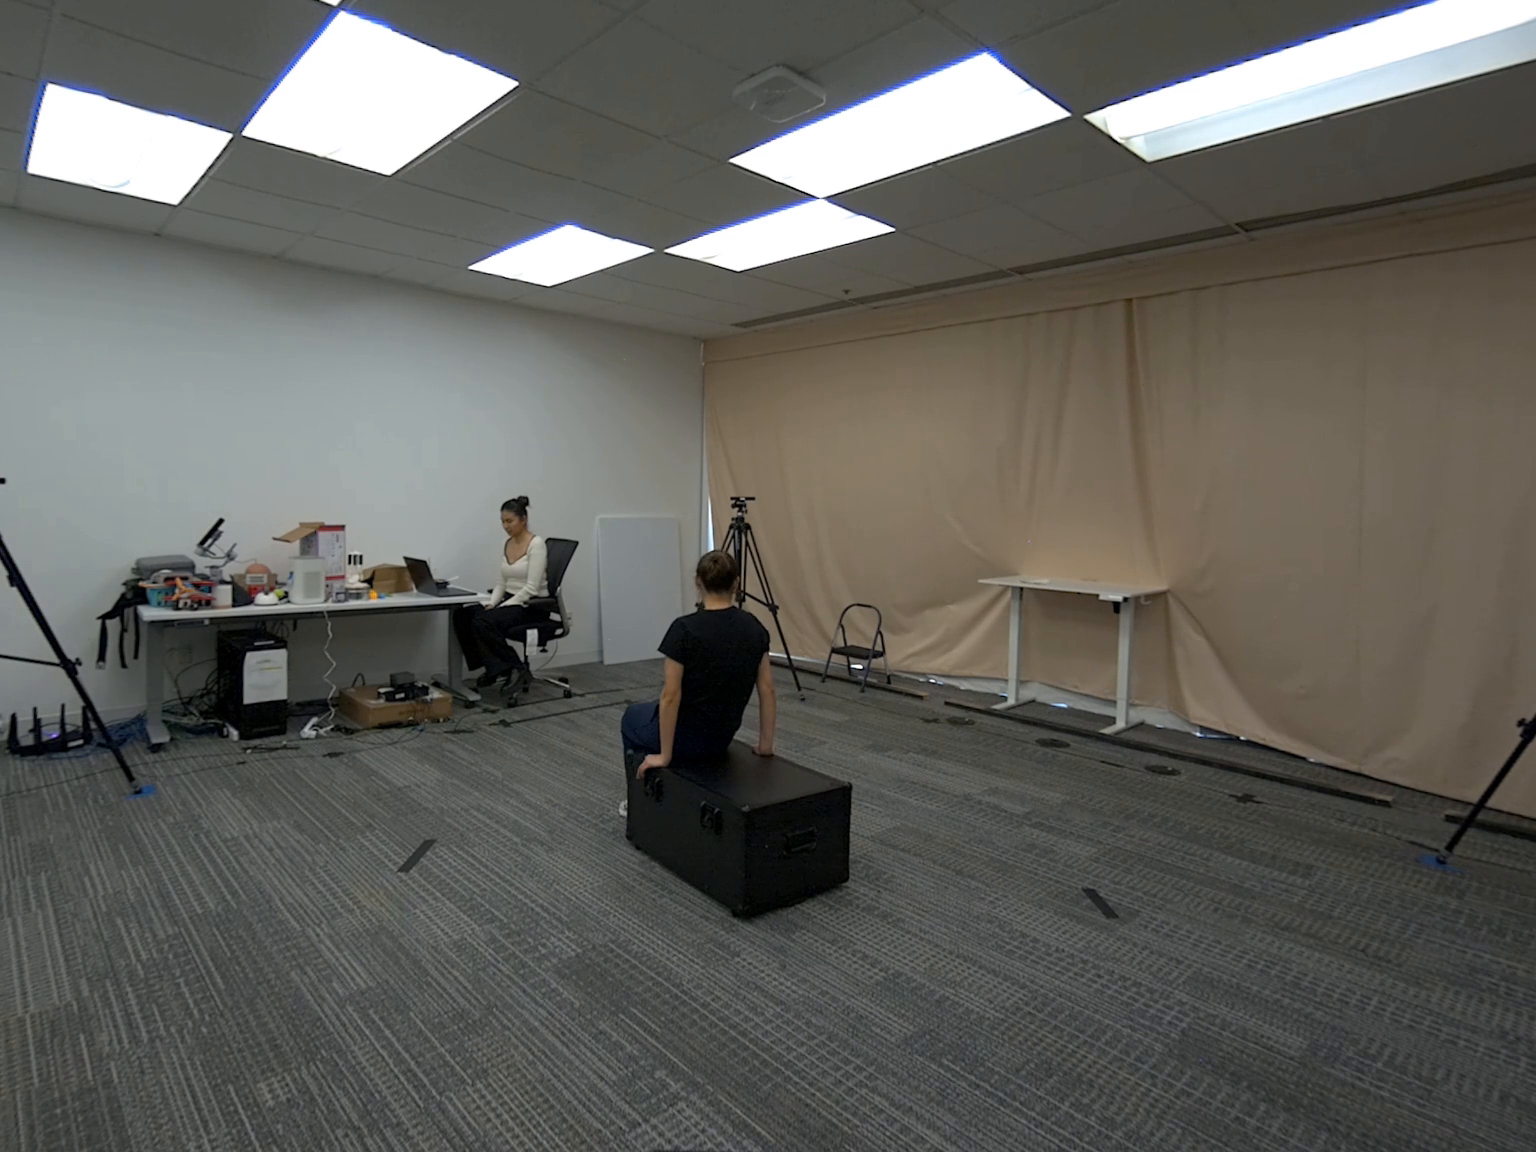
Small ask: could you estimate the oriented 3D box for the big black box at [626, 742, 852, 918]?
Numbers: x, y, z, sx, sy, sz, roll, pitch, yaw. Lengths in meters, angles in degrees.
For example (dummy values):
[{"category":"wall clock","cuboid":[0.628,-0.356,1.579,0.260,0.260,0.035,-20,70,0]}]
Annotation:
[{"category":"big black box","cuboid":[-0.119,0.917,3.148,0.510,0.395,0.882,-2,5,-37]}]
